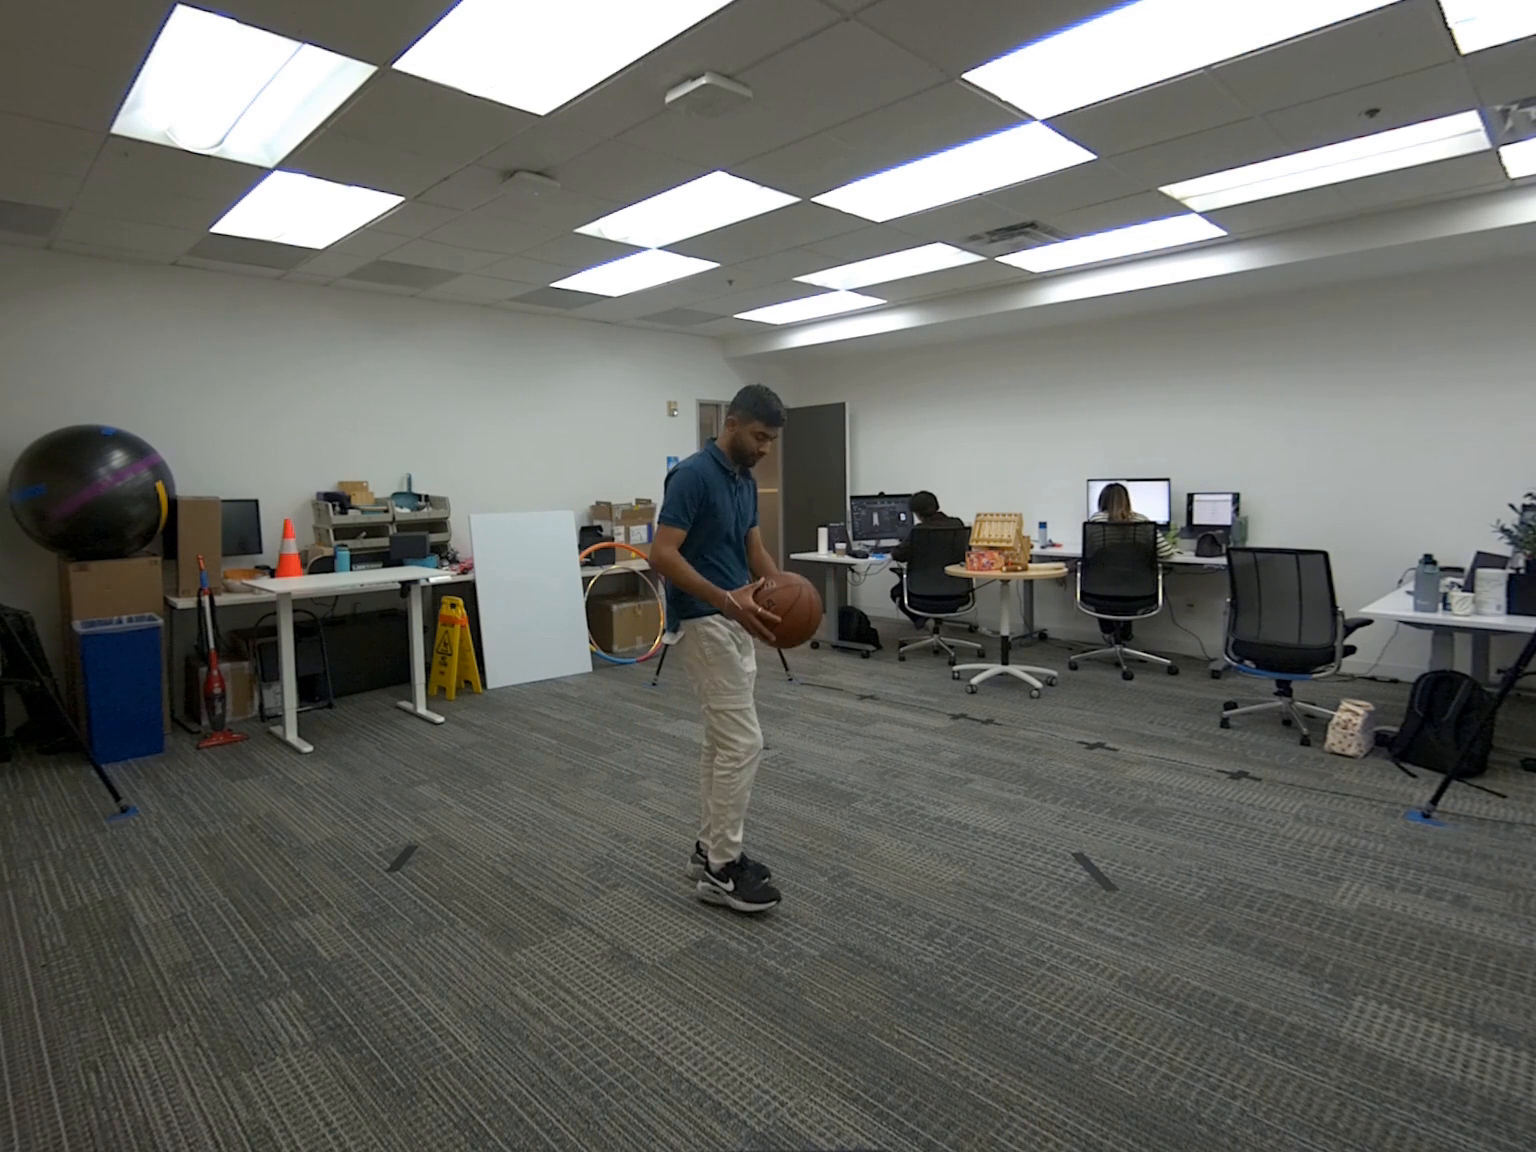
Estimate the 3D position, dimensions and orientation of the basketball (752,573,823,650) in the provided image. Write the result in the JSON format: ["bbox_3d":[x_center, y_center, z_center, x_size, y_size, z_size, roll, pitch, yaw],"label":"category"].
[{"bbox_3d":[0.048,0.117,2.652,0.236,0.235,0.237,-1,5,-2],"label":"basketball"}]
